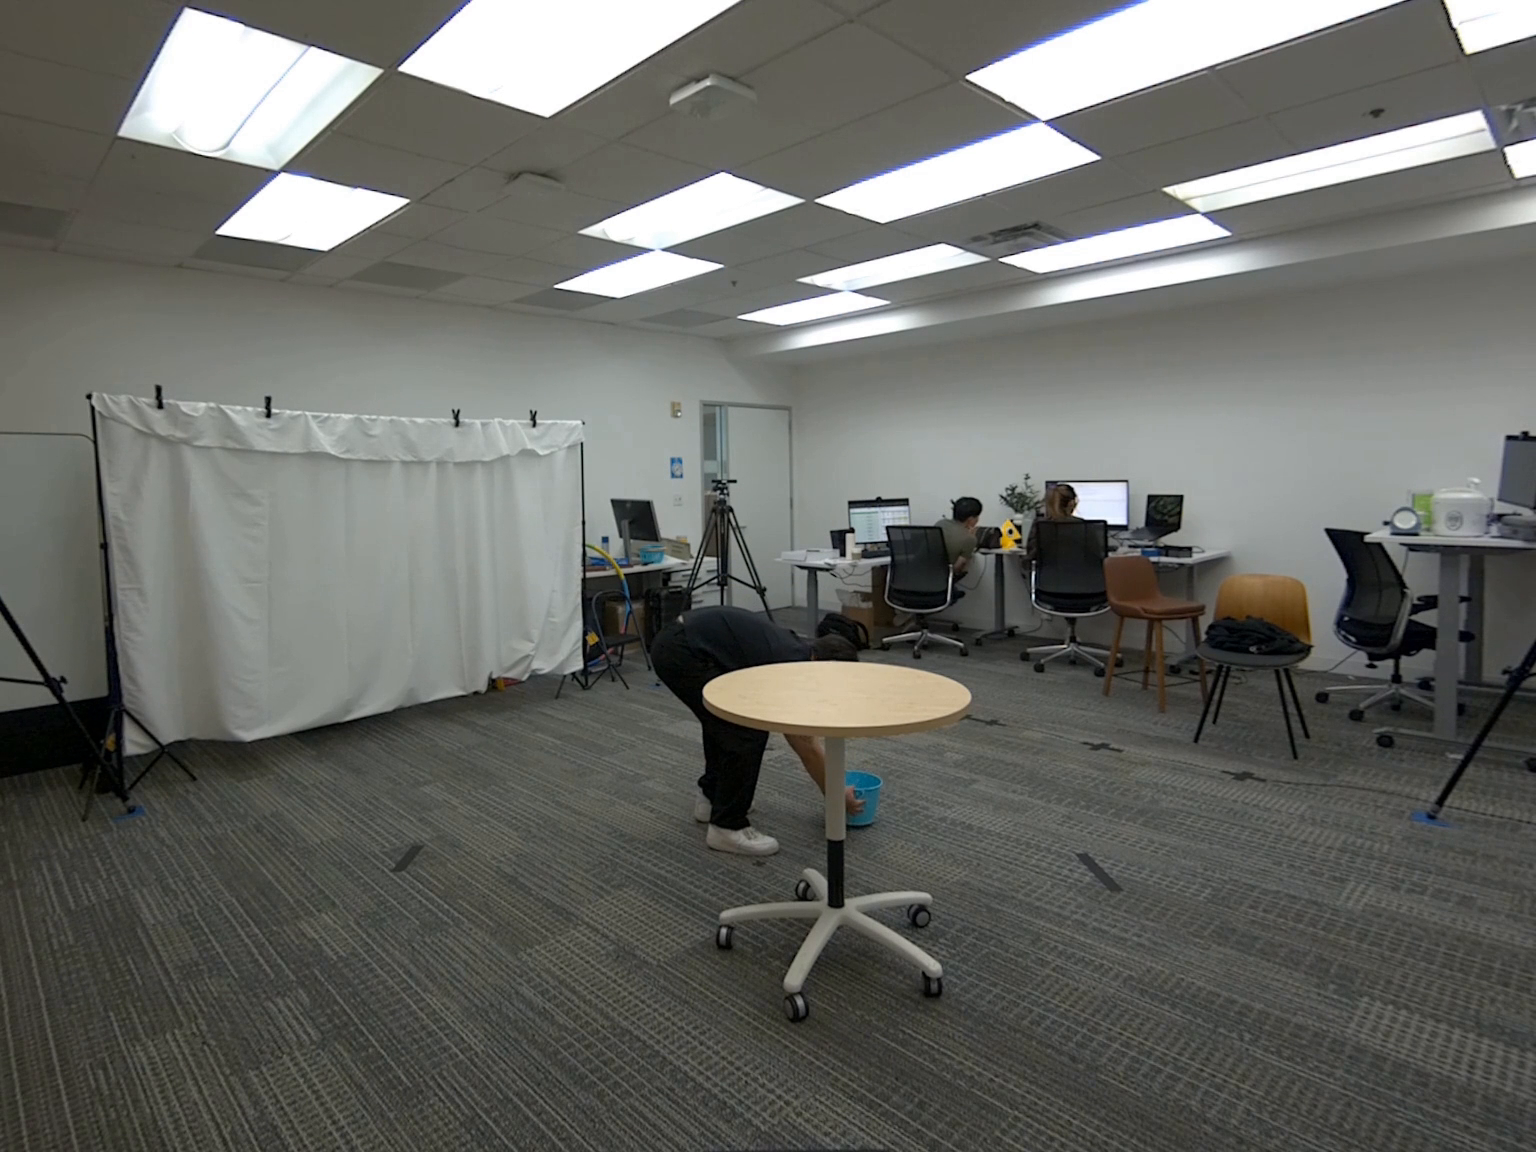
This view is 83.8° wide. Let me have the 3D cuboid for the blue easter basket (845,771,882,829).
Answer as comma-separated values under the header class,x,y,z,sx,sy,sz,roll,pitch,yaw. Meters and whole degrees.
class,x,y,z,sx,sy,sz,roll,pitch,yaw
blue easter basket,0.347,0.905,3.469,0.243,0.155,0.245,0,5,-2
